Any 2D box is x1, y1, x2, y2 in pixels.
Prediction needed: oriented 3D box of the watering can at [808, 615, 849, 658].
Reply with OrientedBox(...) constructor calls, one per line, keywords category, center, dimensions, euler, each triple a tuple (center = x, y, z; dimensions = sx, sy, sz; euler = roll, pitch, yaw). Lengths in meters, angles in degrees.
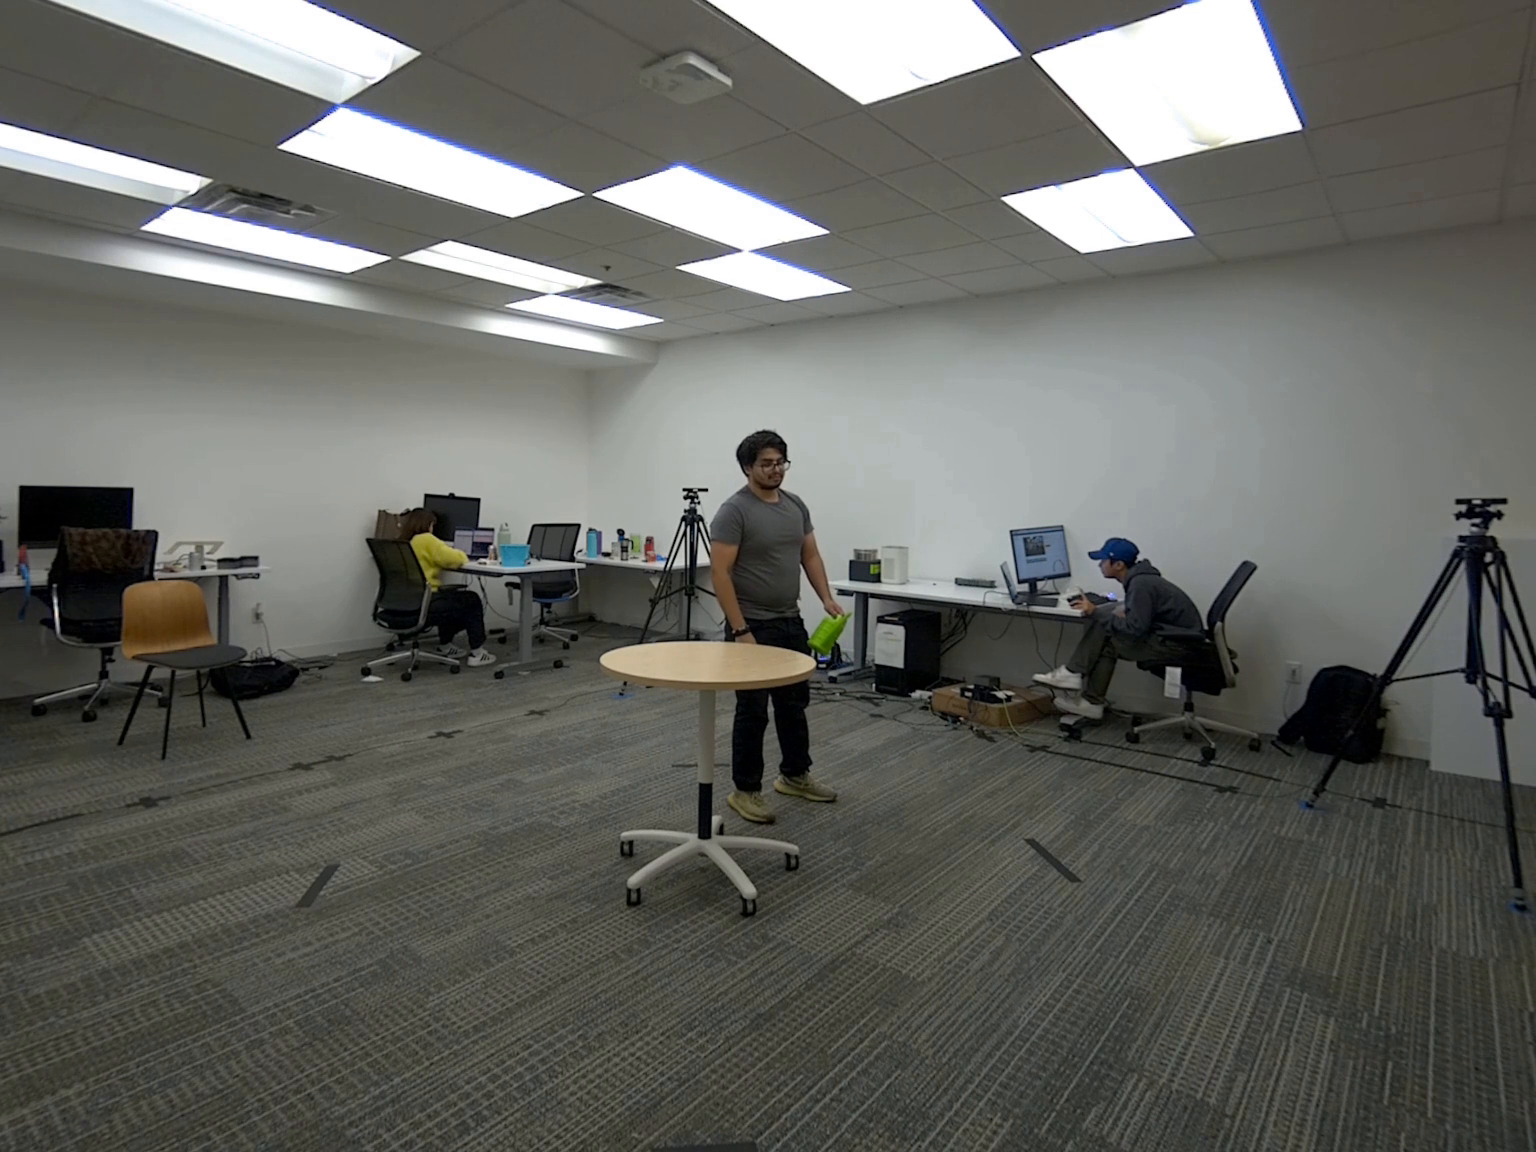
OrientedBox(category="watering can", center=(0.246, 0.214, 3.465), dimensions=(0.099, 0.177, 0.274), euler=(32, -14, 7))
